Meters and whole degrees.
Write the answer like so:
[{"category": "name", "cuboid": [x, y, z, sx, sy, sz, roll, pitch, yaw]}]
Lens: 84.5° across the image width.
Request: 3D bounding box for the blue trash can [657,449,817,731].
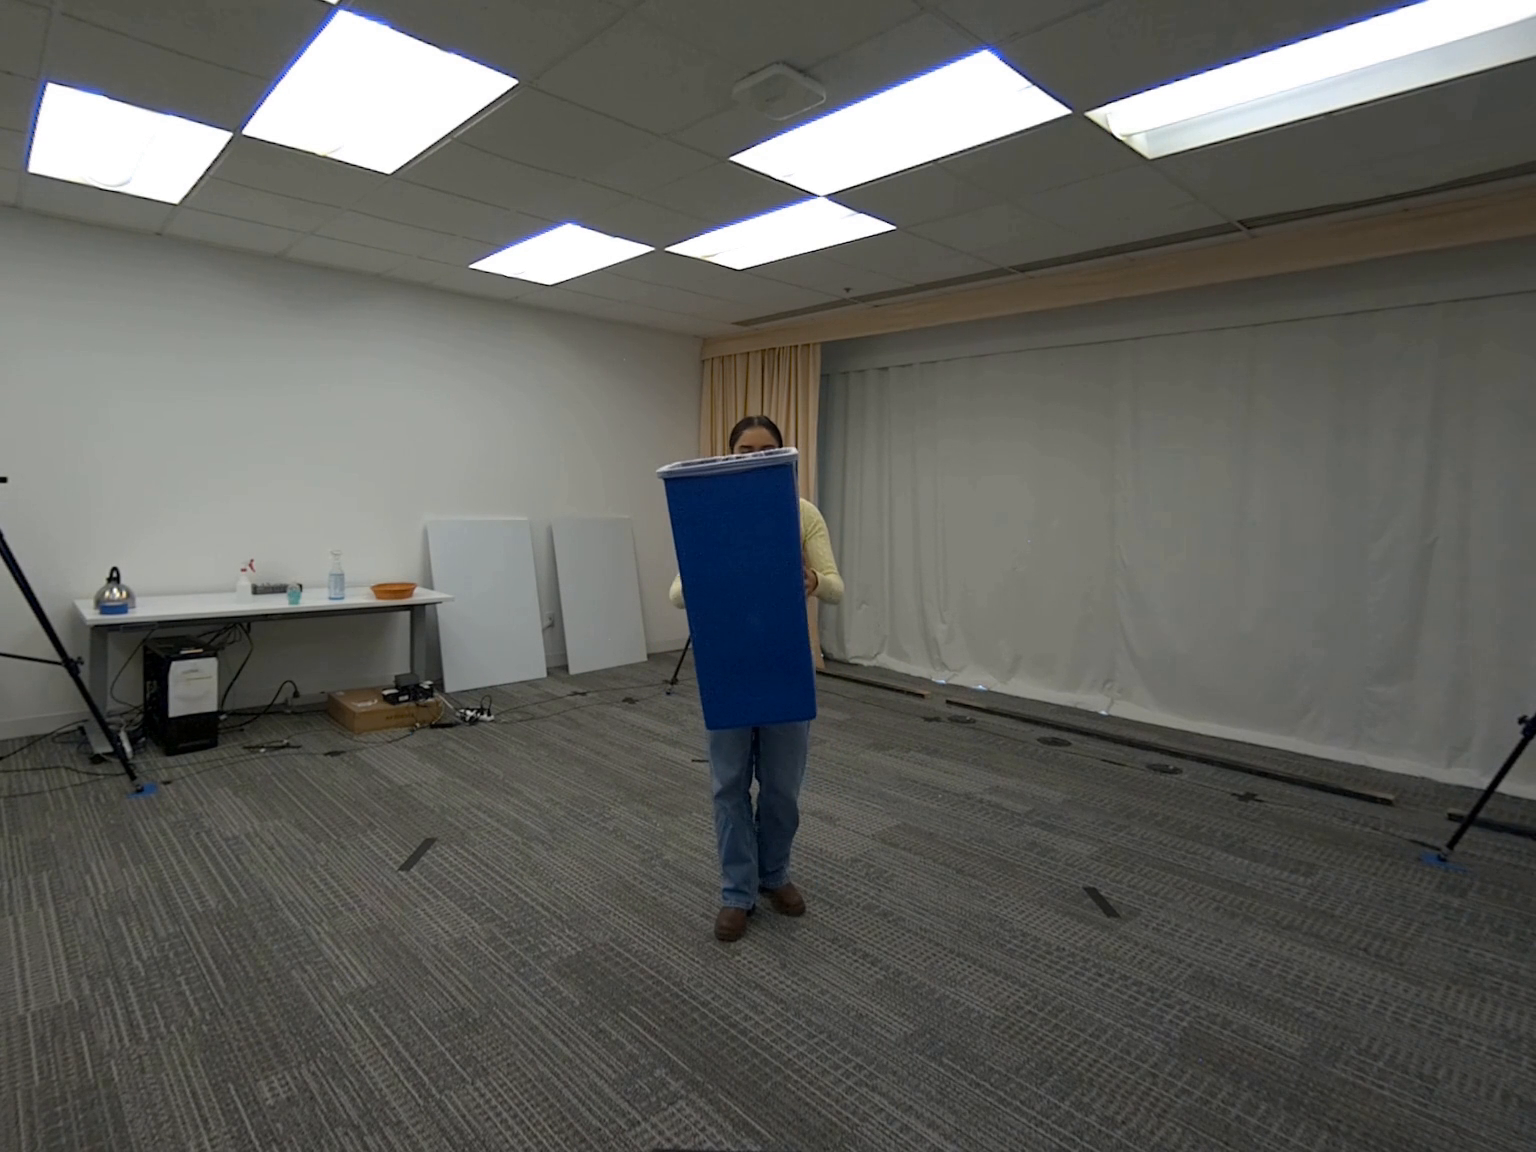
[{"category": "blue trash can", "cuboid": [-0.065, 0.021, 2.330, 0.379, 0.709, 0.375, -7, 7, 2]}]
